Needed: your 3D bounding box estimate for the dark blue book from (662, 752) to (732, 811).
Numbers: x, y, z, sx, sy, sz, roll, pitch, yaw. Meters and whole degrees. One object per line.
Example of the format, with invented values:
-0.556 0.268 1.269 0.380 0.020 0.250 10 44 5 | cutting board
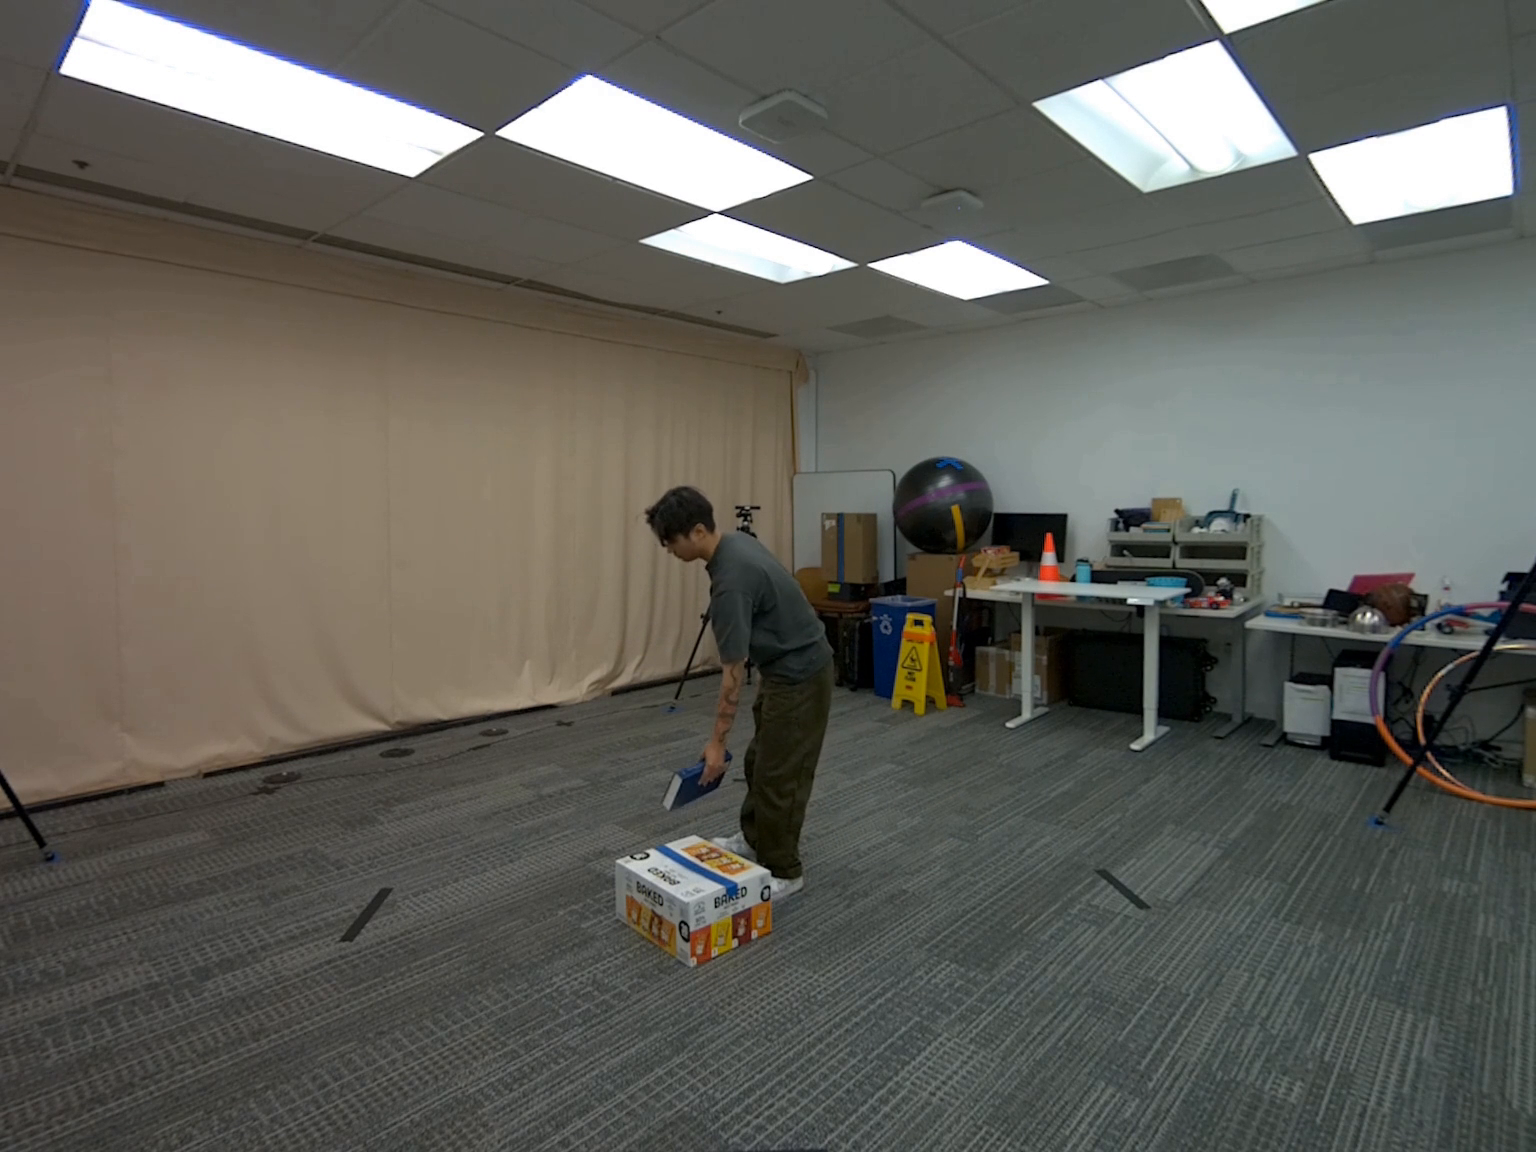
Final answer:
-0.243 0.702 2.872 0.046 0.162 0.238 39 33 29 | dark blue book
